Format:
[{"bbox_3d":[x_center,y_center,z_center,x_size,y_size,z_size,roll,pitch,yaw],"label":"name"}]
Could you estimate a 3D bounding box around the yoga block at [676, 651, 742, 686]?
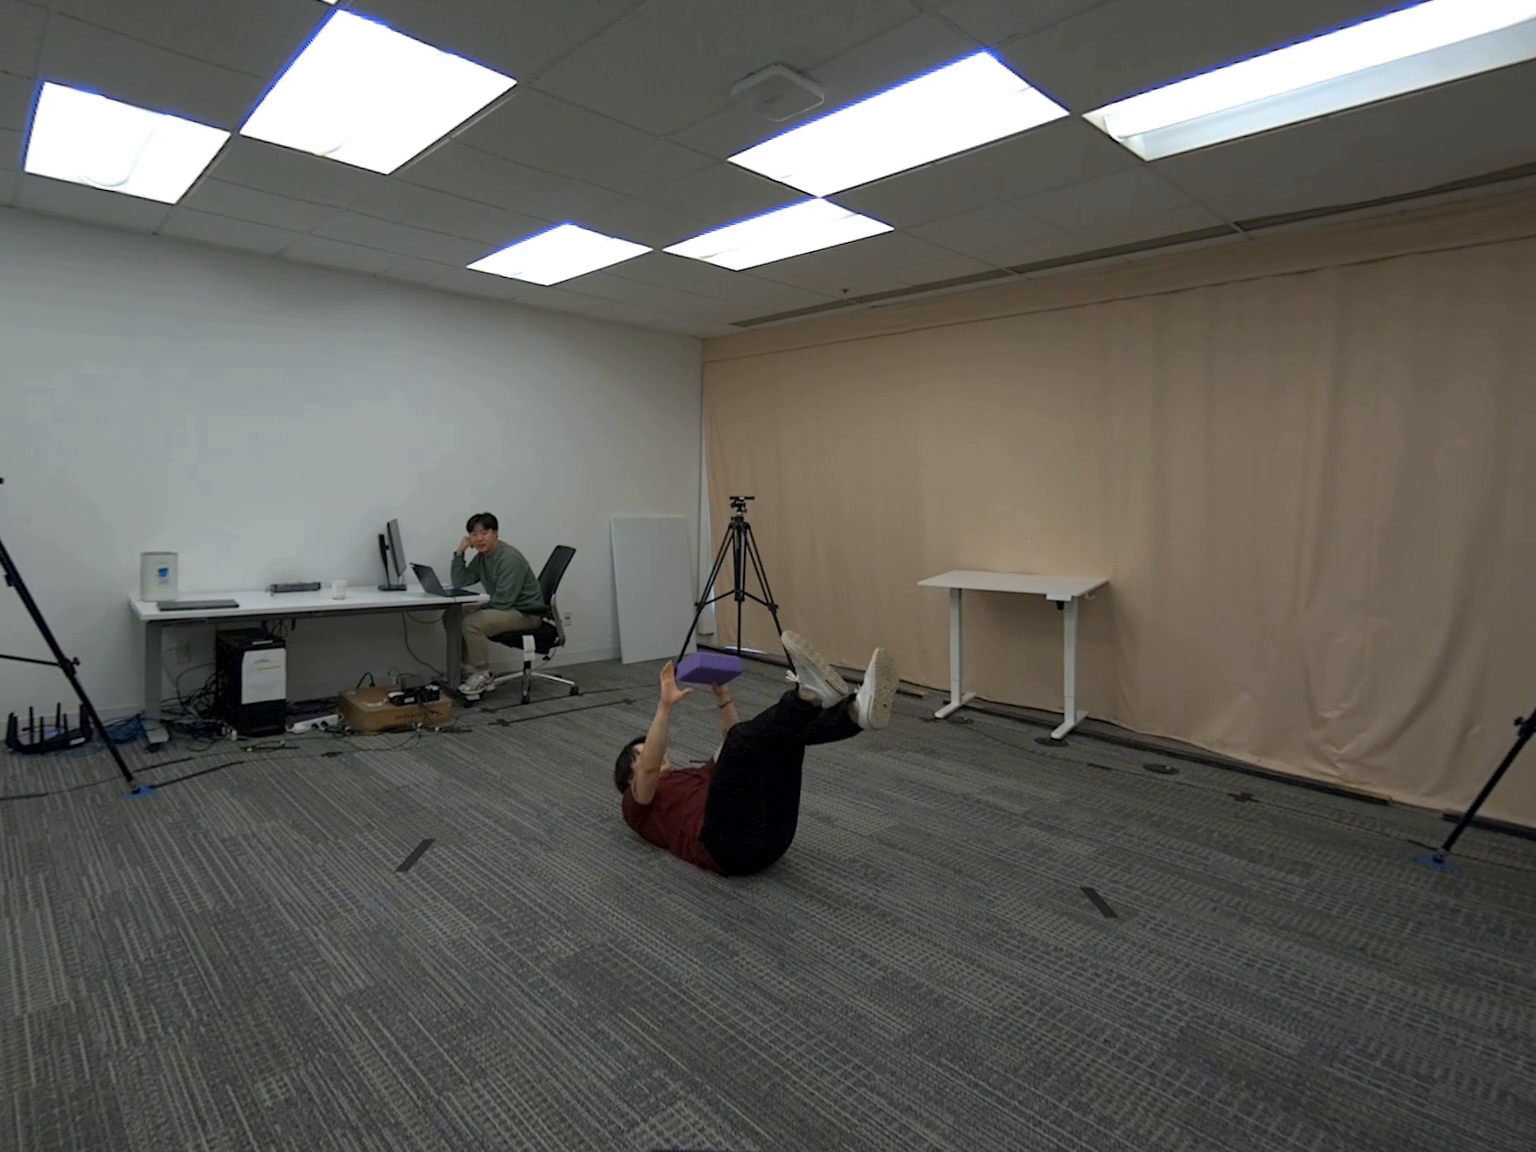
[{"bbox_3d":[-0.245,0.379,3.422,0.223,0.078,0.150,12,-34,-38],"label":"yoga block"}]
